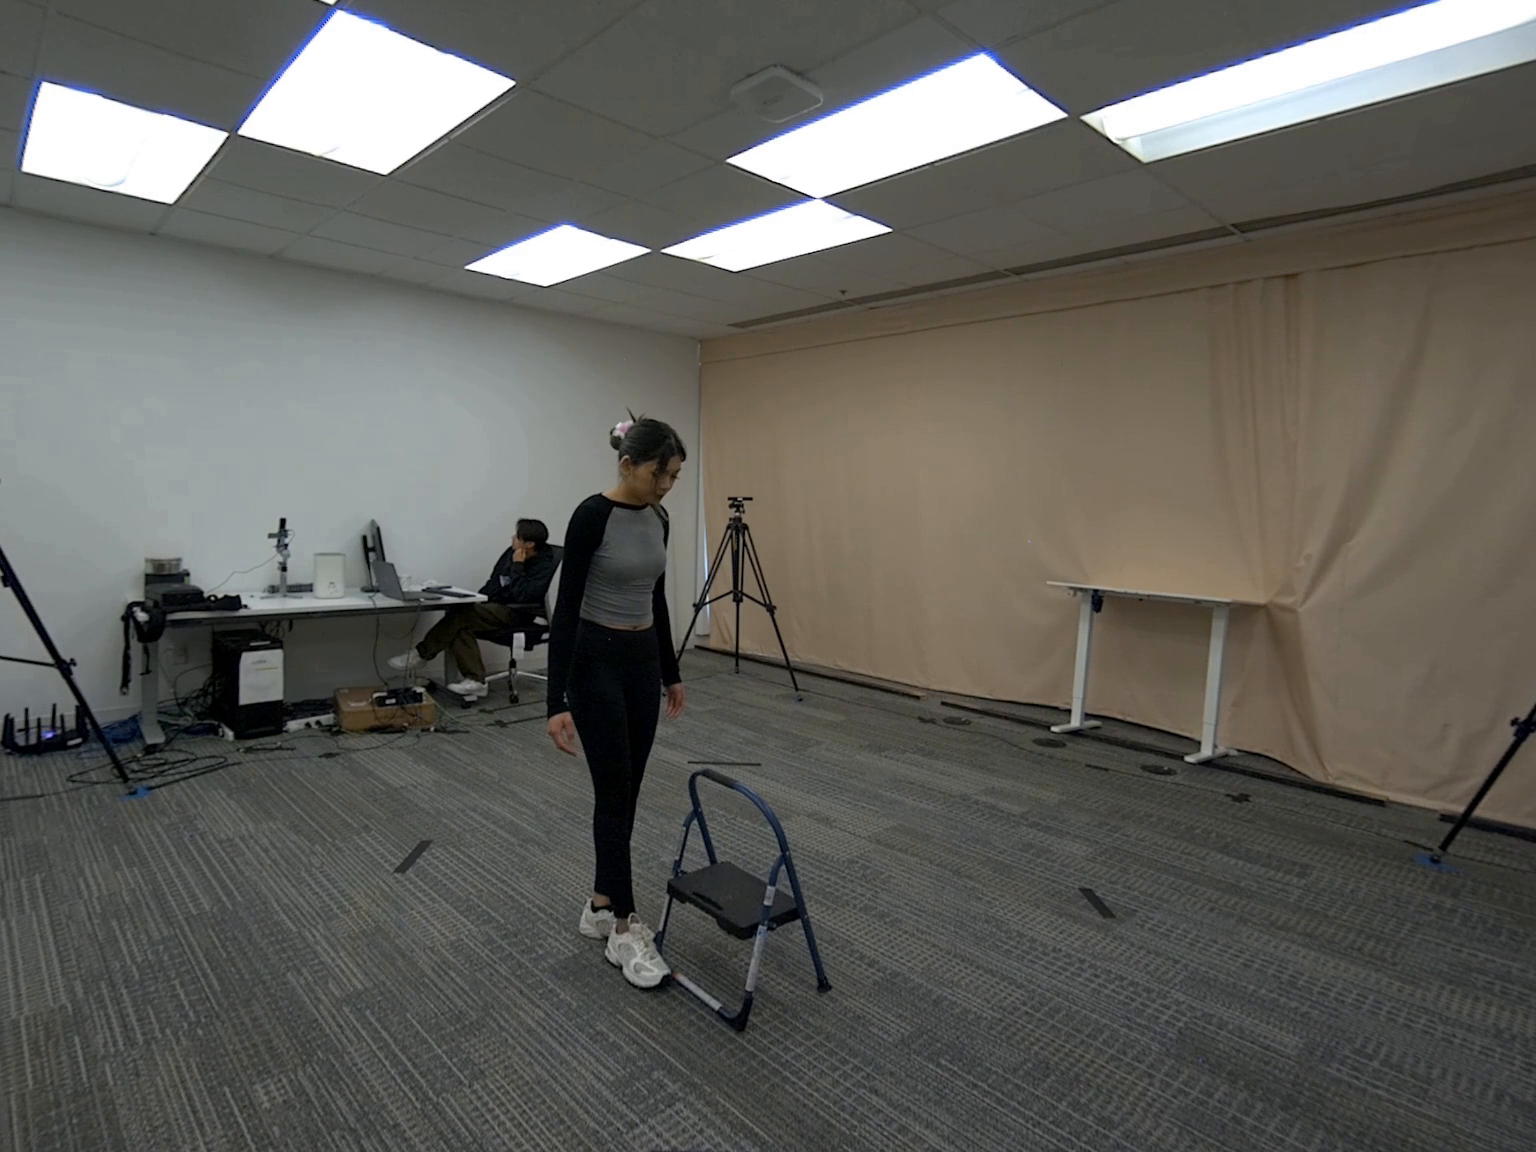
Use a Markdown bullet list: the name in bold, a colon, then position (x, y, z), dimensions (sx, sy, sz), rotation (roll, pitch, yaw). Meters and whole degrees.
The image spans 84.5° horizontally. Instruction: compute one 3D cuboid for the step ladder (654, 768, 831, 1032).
- **step ladder**: position (-0.096, 0.868, 2.438), dimensions (0.341, 0.605, 0.441), rotation (-2, 5, -43)
